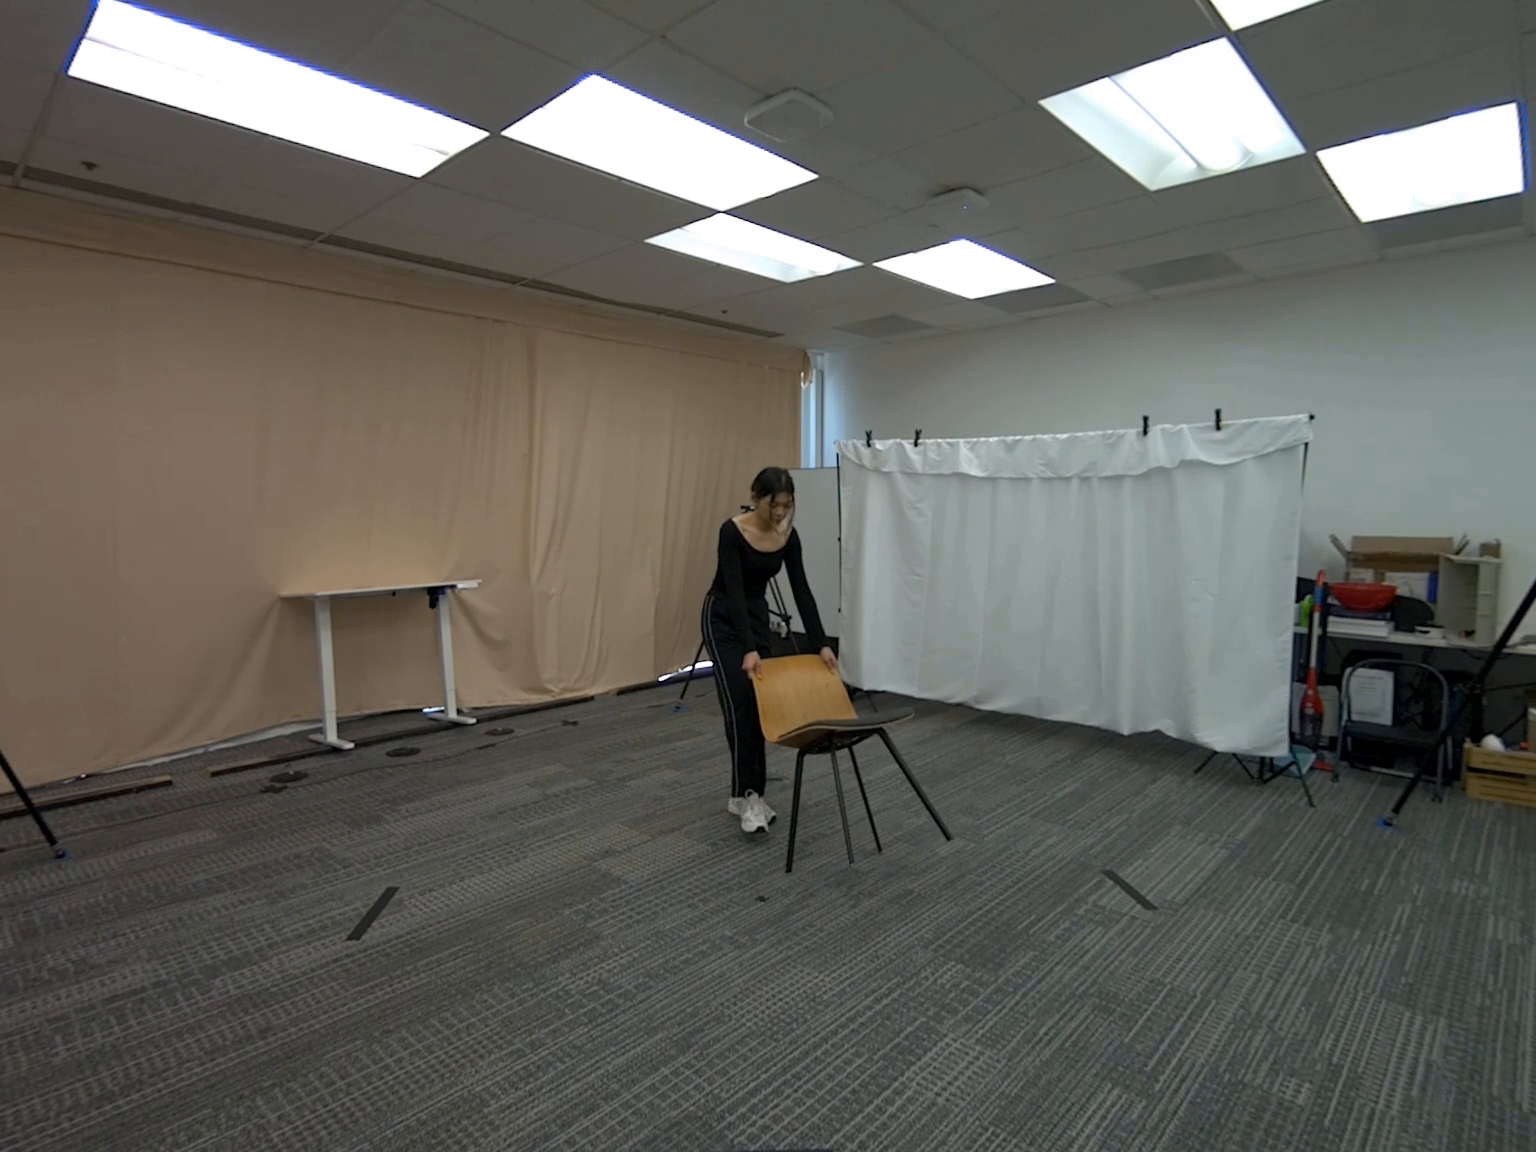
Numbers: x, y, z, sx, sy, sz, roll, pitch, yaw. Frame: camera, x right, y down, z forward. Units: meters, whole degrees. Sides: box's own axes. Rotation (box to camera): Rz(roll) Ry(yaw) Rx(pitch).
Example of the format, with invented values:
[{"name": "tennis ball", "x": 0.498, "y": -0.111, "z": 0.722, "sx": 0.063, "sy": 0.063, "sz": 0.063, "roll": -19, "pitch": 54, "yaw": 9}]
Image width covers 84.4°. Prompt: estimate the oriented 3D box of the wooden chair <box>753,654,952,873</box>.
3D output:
[{"name": "wooden chair", "x": 0.285, "y": 0.636, "z": 3.226, "sx": 0.466, "sy": 0.894, "sz": 0.527, "roll": -2, "pitch": -26, "yaw": -29}]
